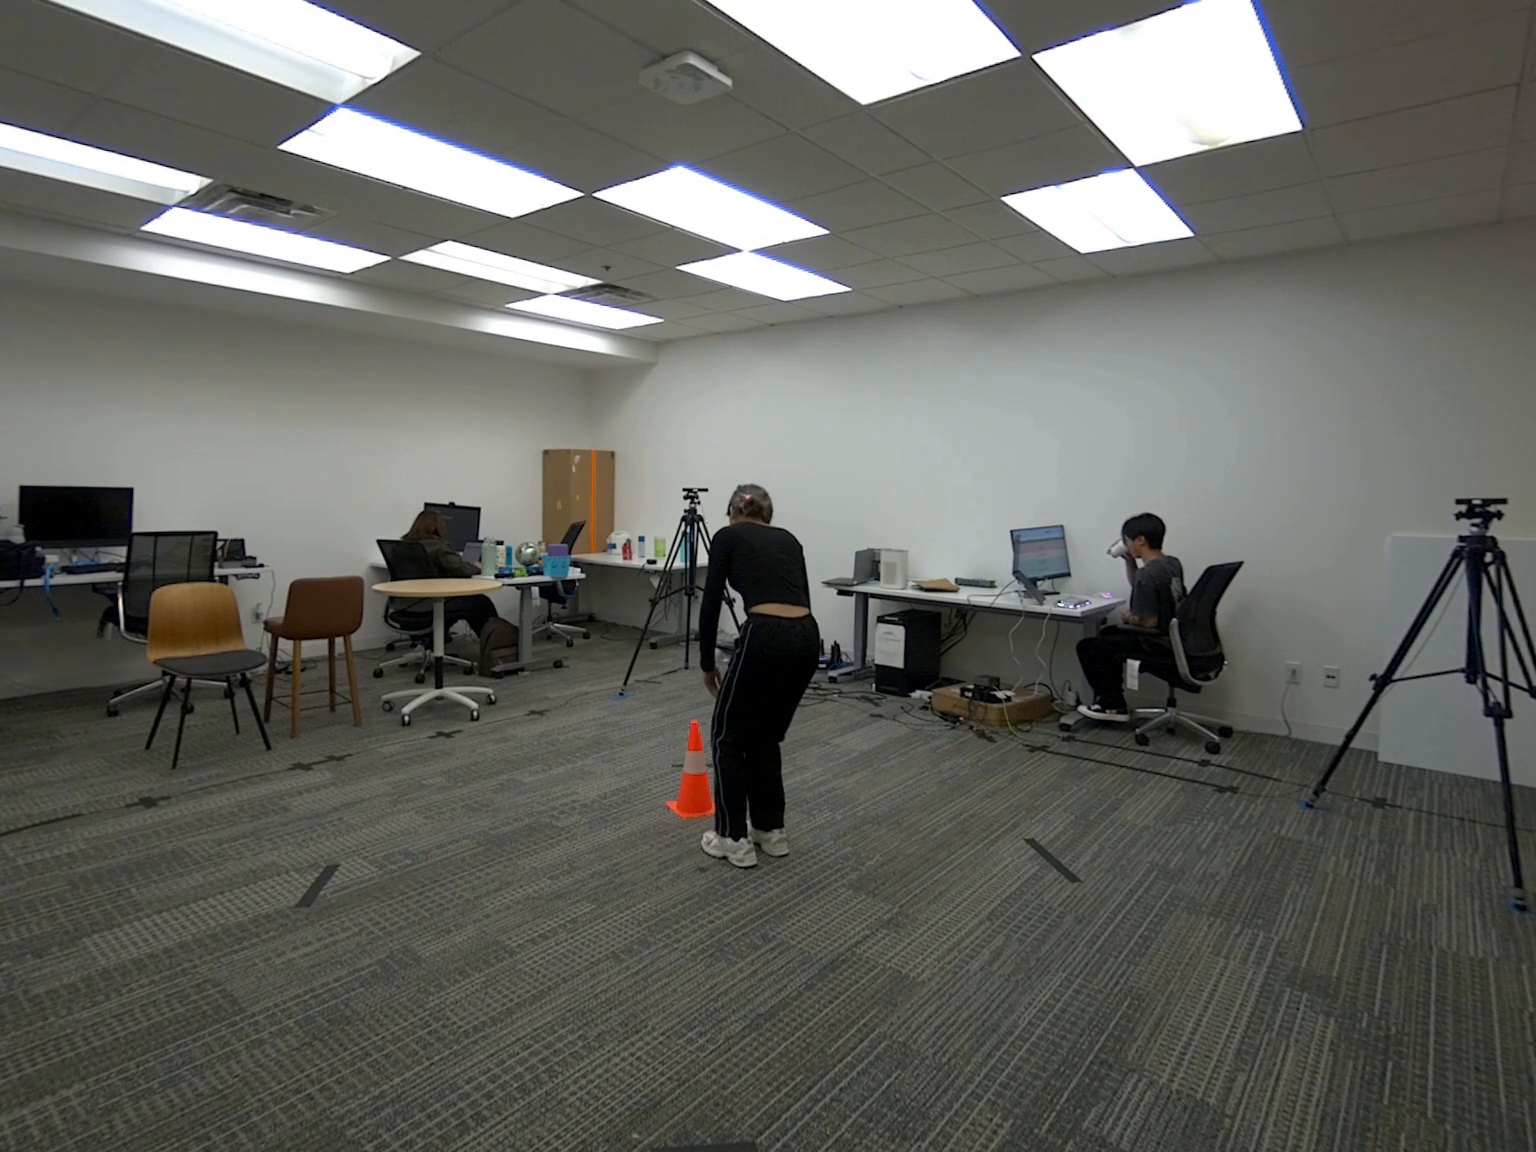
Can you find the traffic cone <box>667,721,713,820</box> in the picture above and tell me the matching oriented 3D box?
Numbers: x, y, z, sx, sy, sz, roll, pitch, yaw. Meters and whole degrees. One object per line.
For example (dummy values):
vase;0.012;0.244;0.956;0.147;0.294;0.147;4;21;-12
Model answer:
traffic cone;-0.332;0.823;3.710;0.198;0.383;0.210;-1;3;-27
